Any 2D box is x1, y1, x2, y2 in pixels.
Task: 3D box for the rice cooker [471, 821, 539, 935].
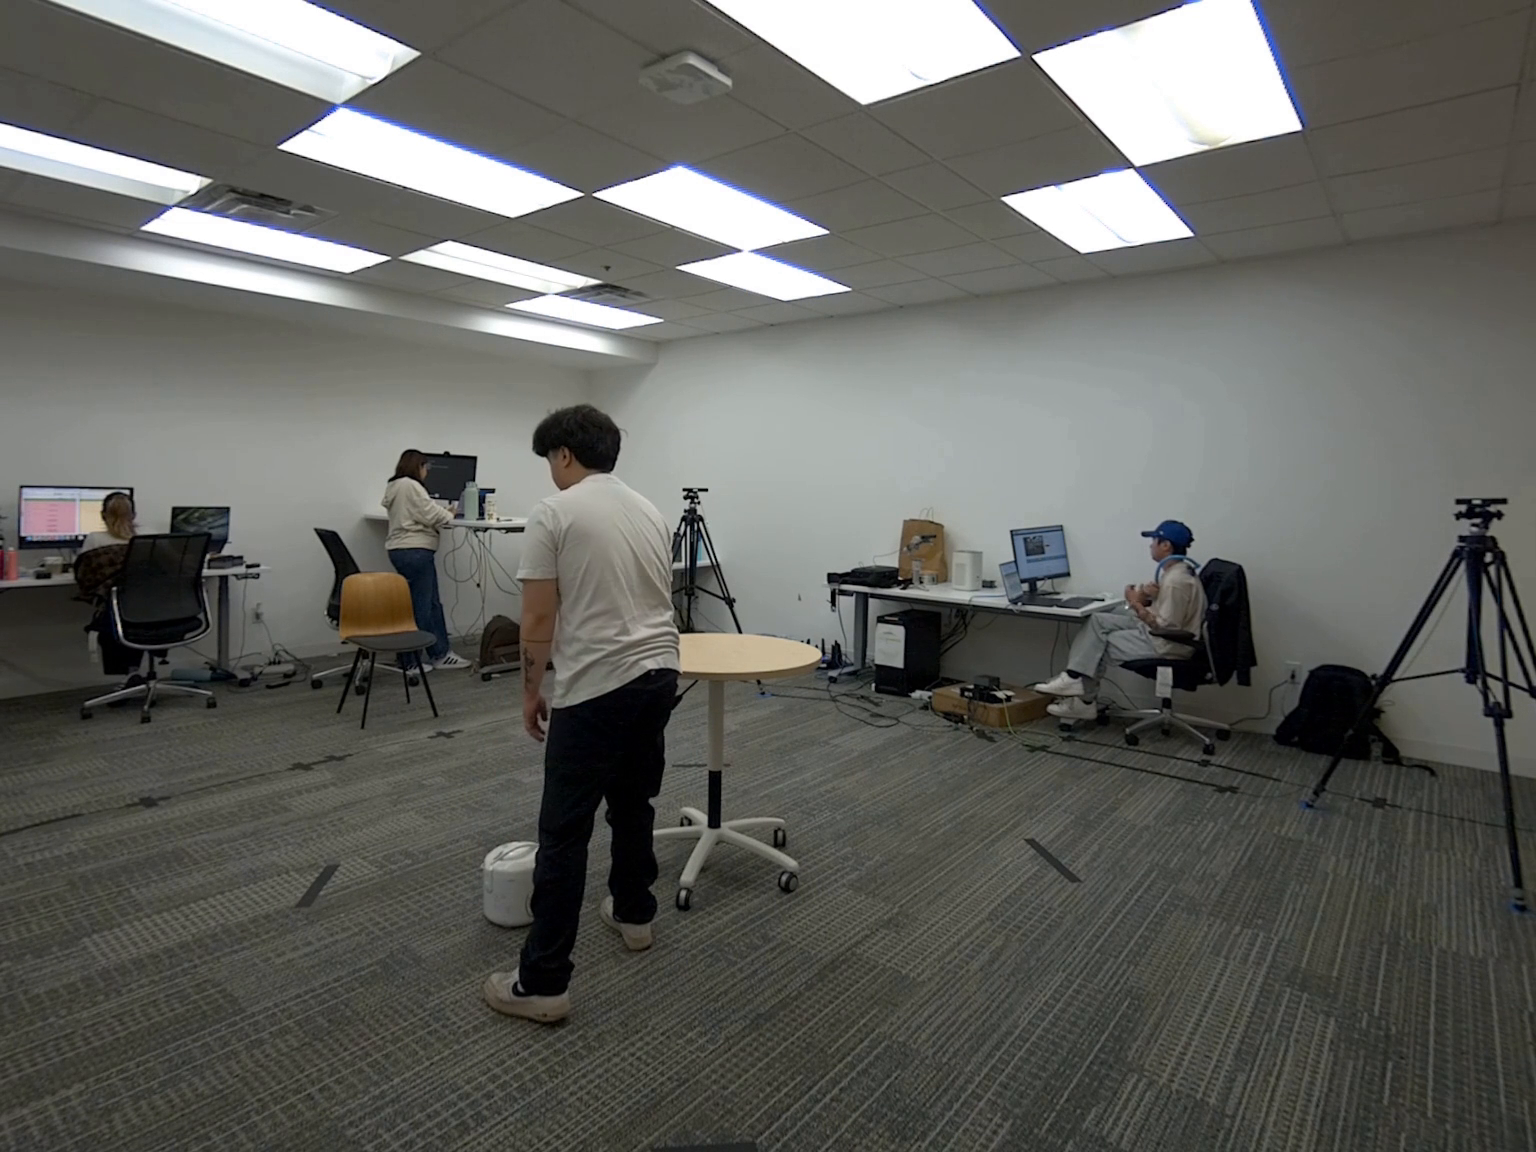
[{"bbox_3d":[-0.817,0.977,2.748,0.225,0.232,0.214,4,5,44],"label":"rice cooker"}]
